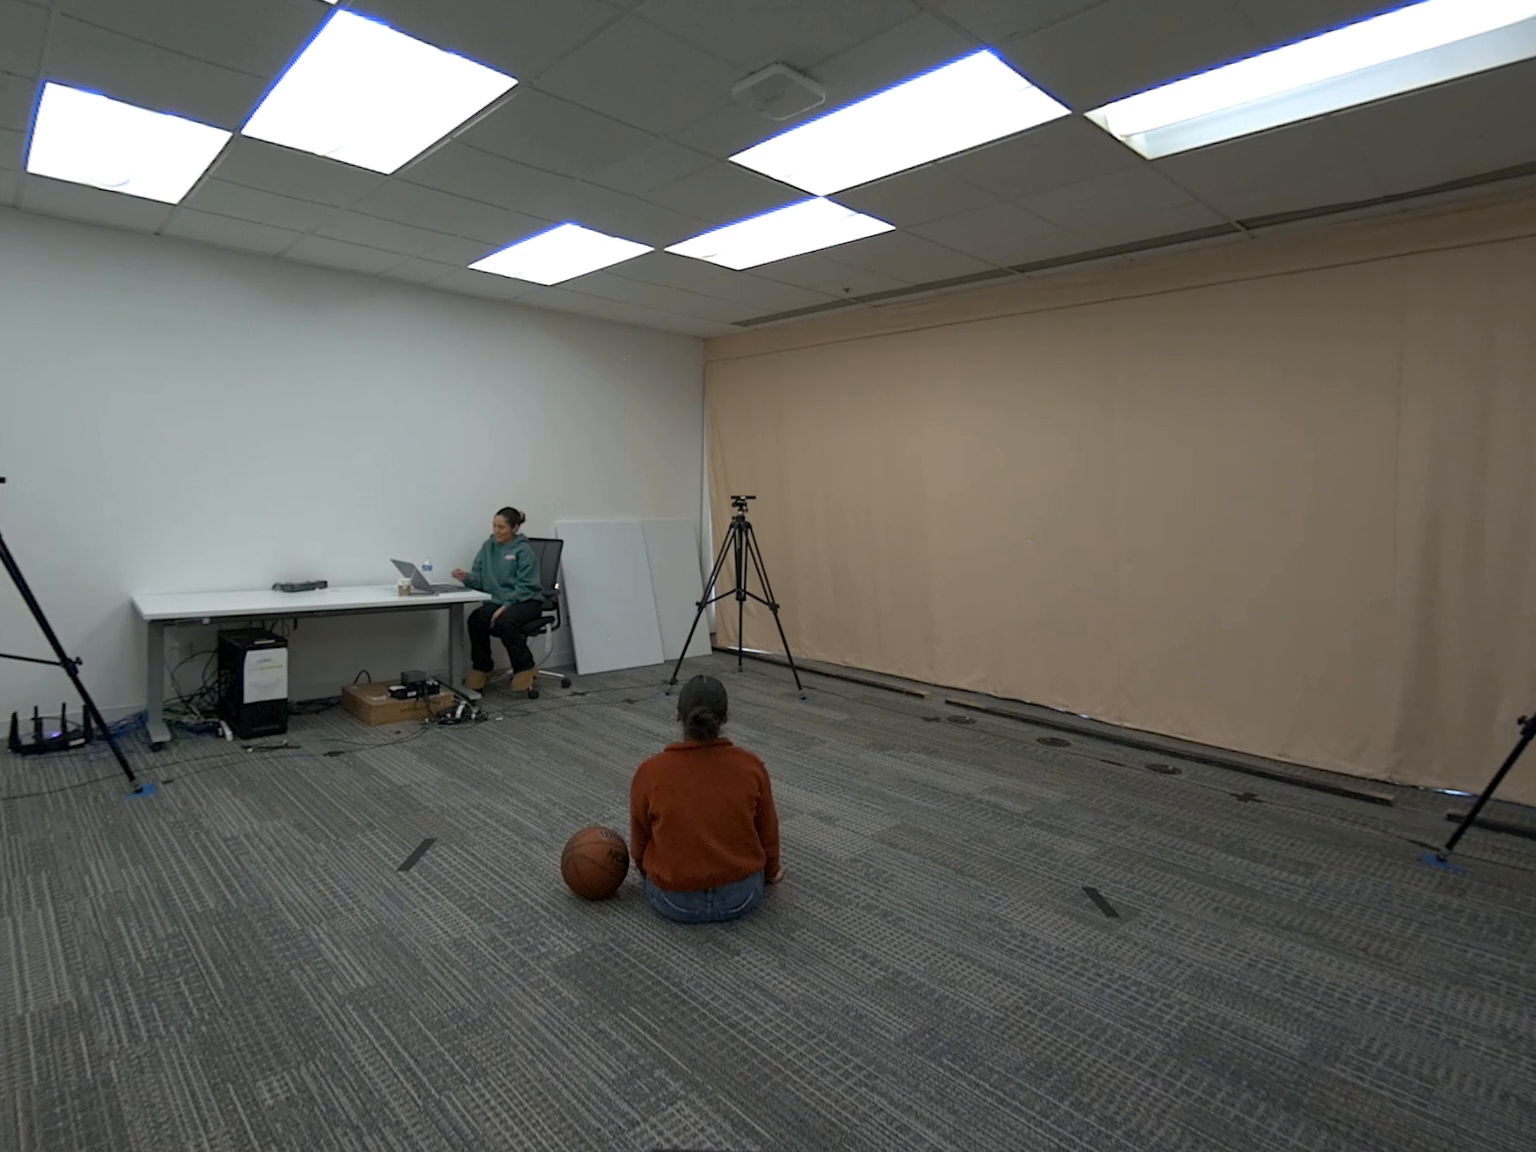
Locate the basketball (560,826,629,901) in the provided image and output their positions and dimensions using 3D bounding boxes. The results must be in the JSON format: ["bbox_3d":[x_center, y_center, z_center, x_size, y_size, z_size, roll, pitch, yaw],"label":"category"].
[{"bbox_3d":[-0.601,0.985,2.924,0.236,0.235,0.237,1,4,-1],"label":"basketball"}]
